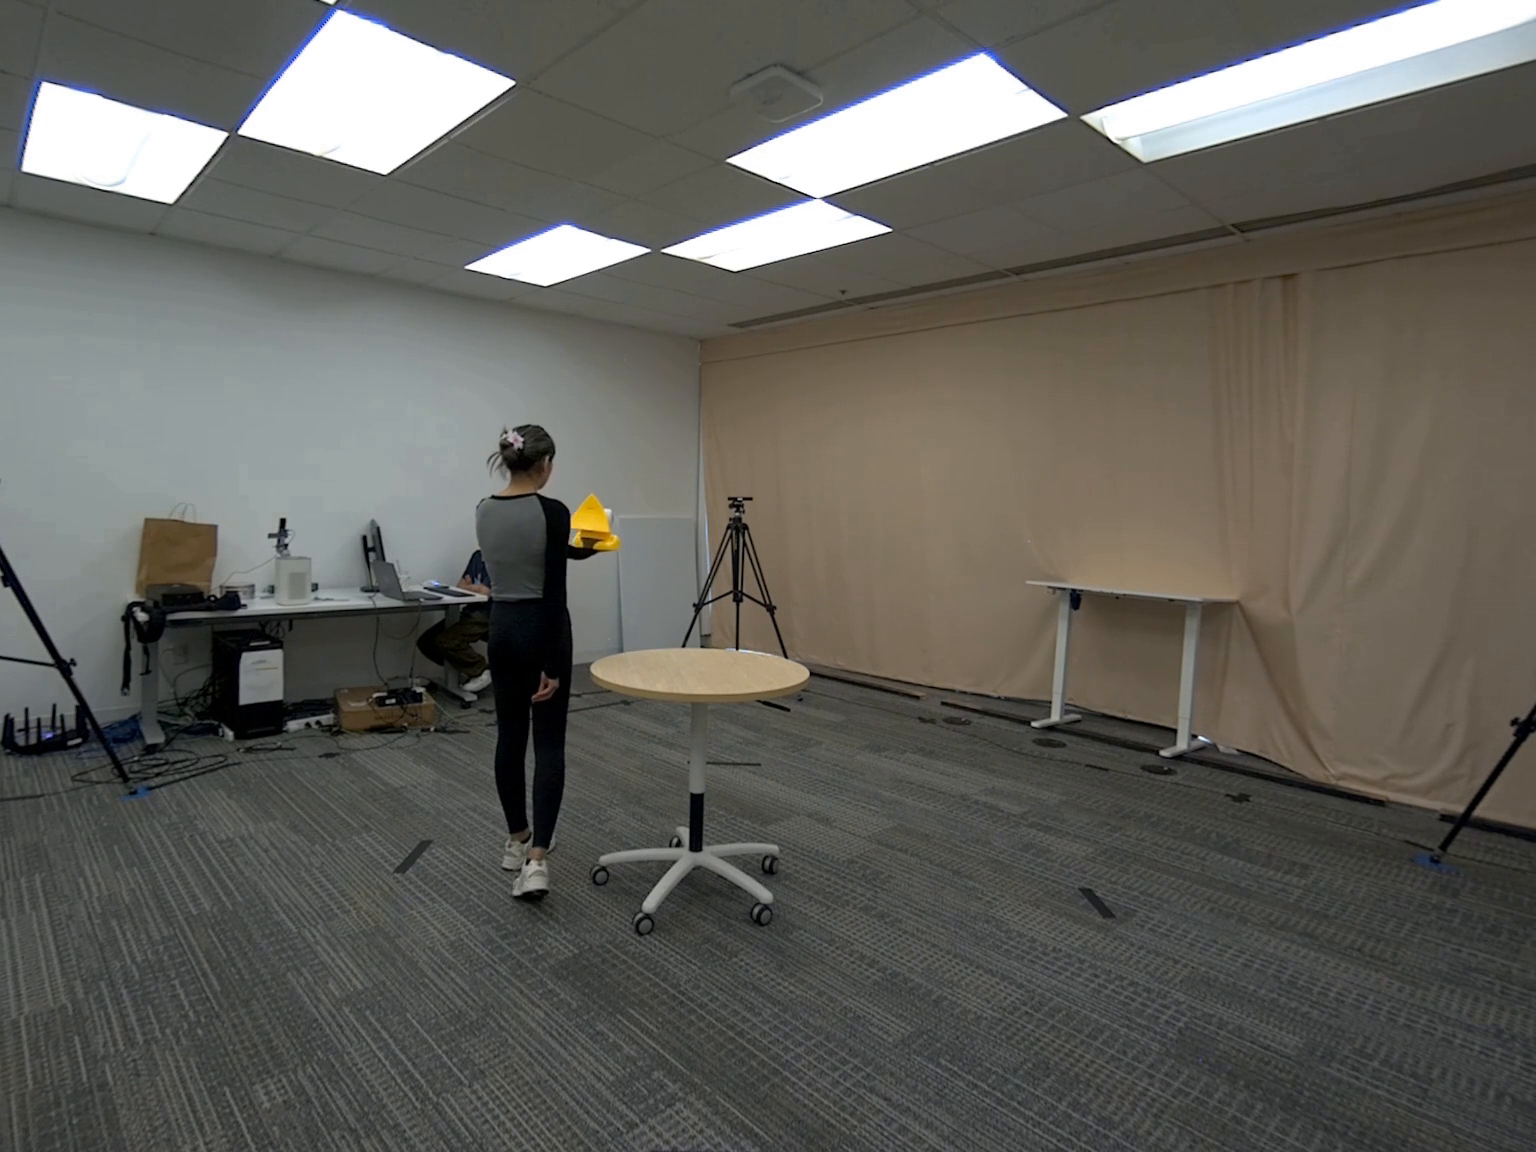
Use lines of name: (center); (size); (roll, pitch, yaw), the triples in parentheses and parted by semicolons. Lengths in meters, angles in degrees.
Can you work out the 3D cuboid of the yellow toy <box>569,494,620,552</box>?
yellow toy: (-0.737, -0.235, 3.577); (0.207, 0.230, 0.191); (6, 7, 14)
